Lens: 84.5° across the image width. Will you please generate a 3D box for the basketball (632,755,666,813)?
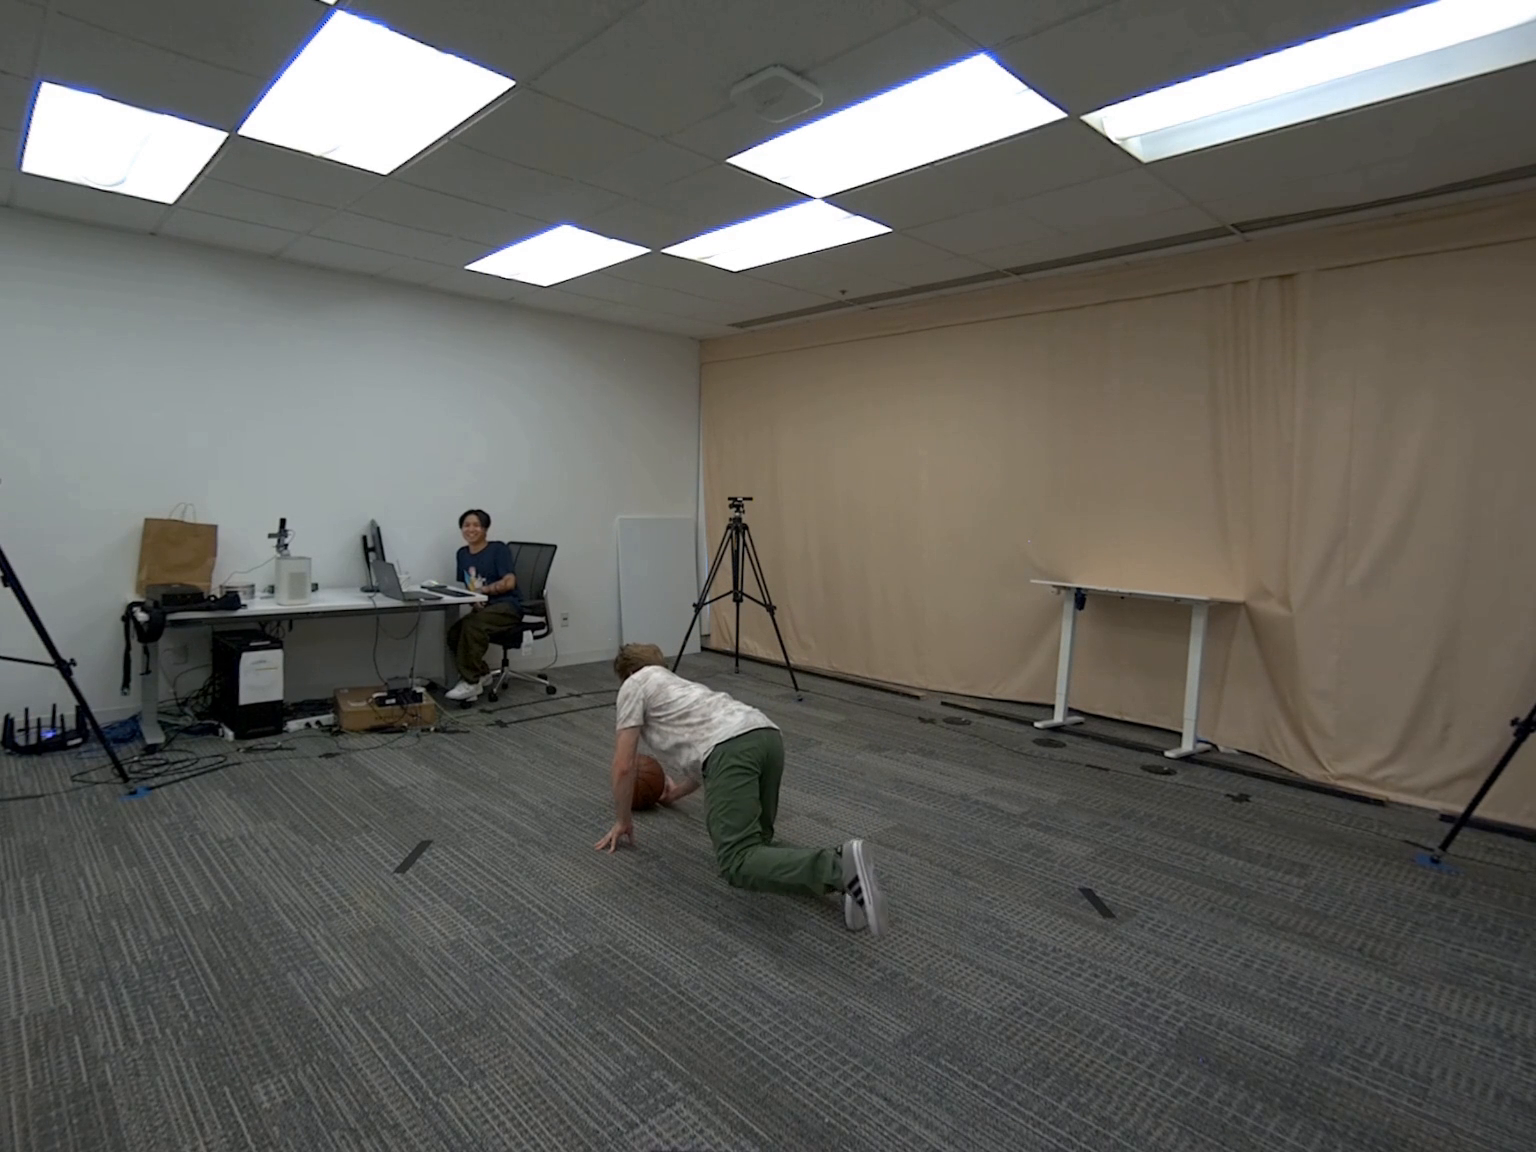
[{"bbox_3d":[-0.589,0.916,3.773,0.236,0.235,0.237,1,4,-1],"label":"basketball"}]
